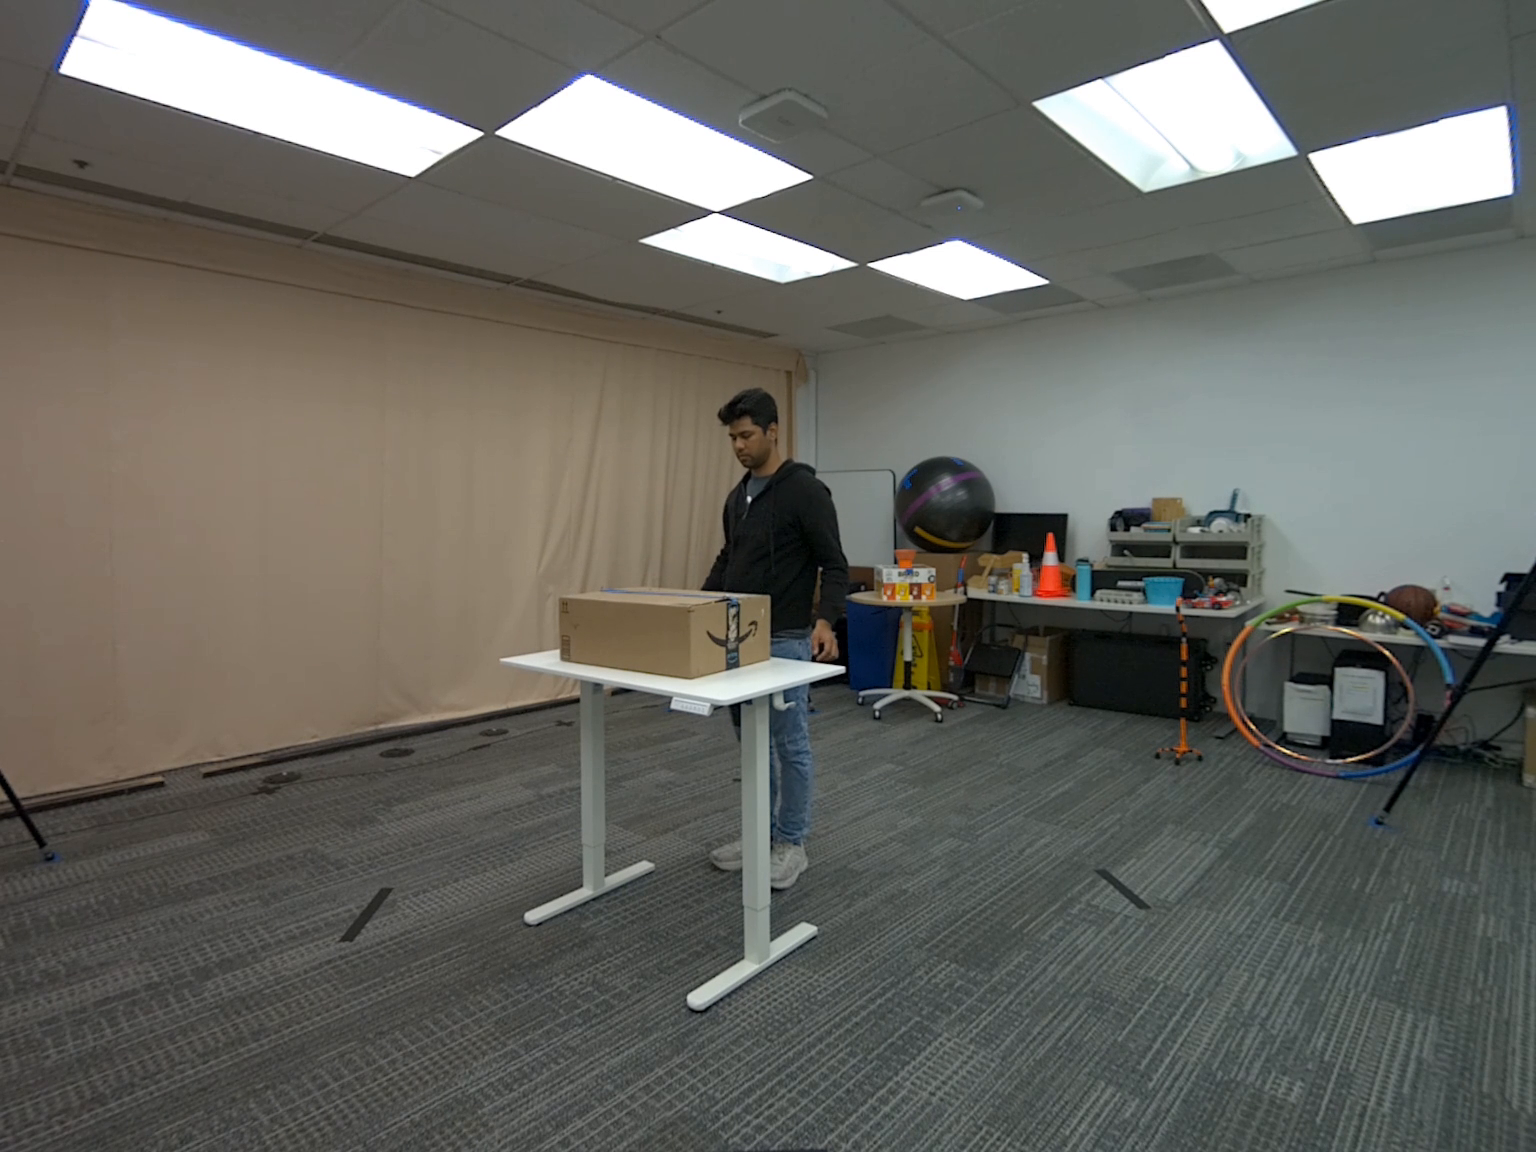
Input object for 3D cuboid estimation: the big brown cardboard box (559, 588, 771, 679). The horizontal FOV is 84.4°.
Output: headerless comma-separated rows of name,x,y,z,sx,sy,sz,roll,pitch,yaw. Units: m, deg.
big brown cardboard box,-0.338,0.170,2.790,0.607,0.233,0.405,1,4,36
